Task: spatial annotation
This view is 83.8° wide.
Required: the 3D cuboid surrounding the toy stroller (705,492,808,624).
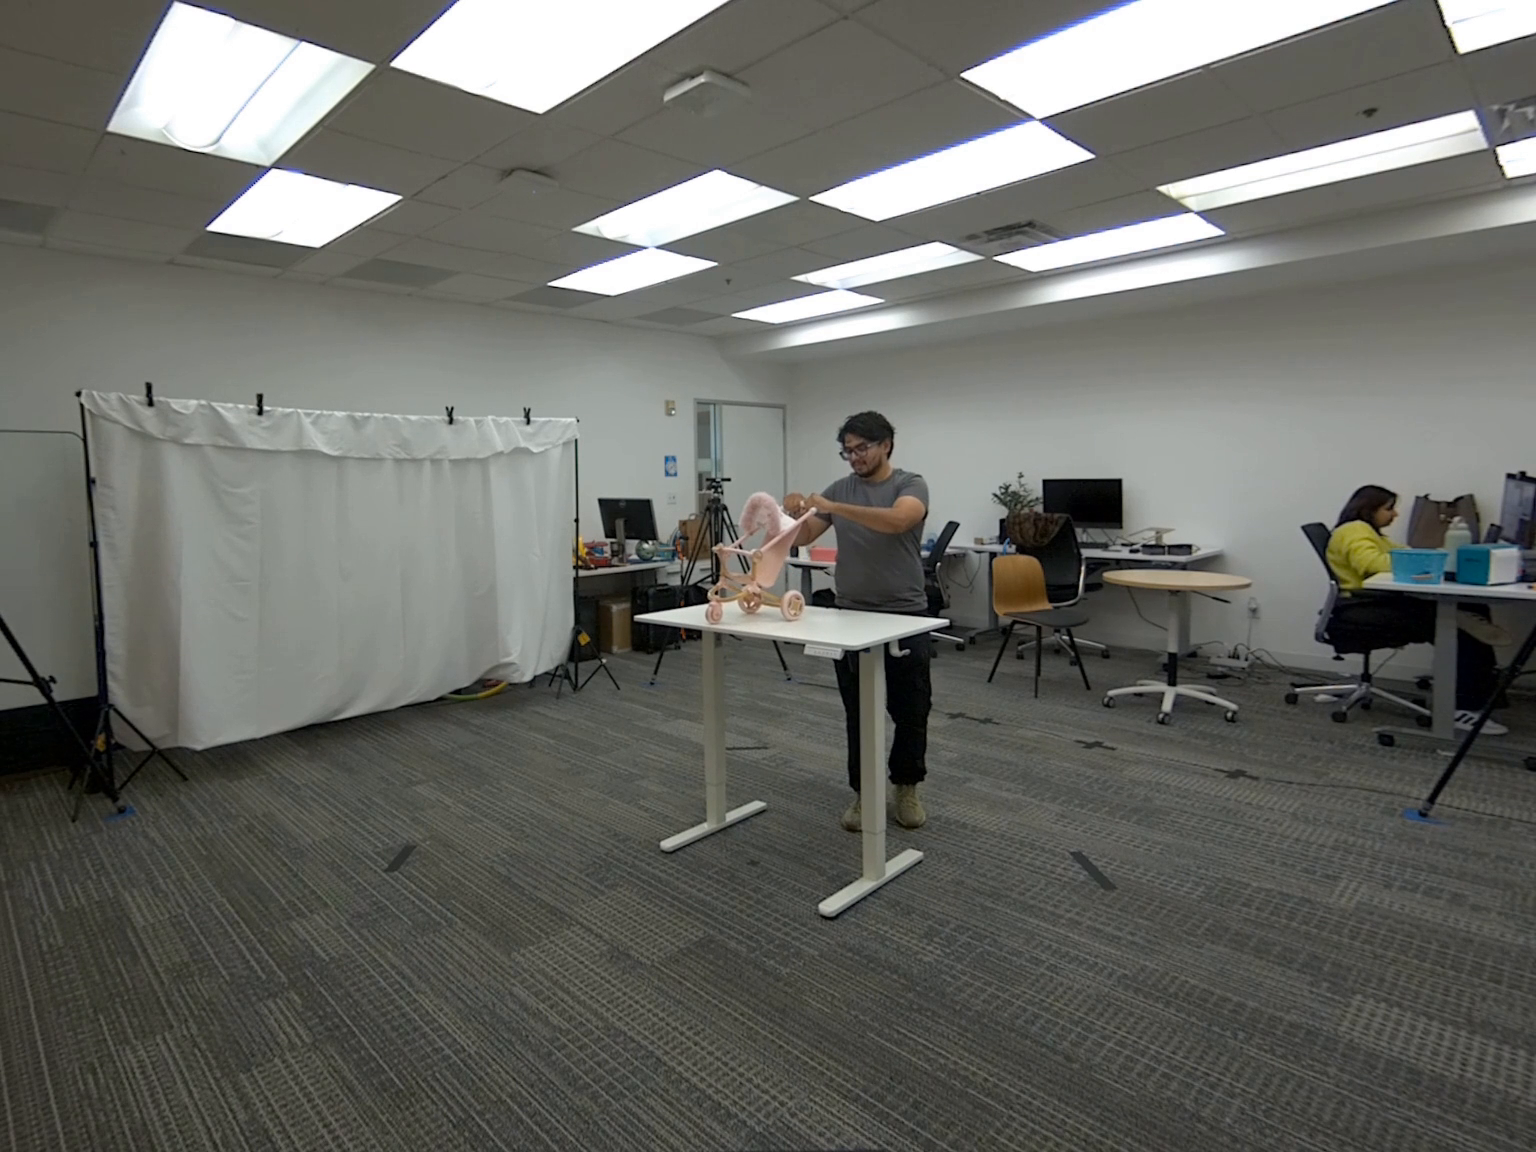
[{"bbox_3d":[-0.035,-0.068,3.118,0.331,0.537,0.289,15,-6,-32],"label":"toy stroller"}]
